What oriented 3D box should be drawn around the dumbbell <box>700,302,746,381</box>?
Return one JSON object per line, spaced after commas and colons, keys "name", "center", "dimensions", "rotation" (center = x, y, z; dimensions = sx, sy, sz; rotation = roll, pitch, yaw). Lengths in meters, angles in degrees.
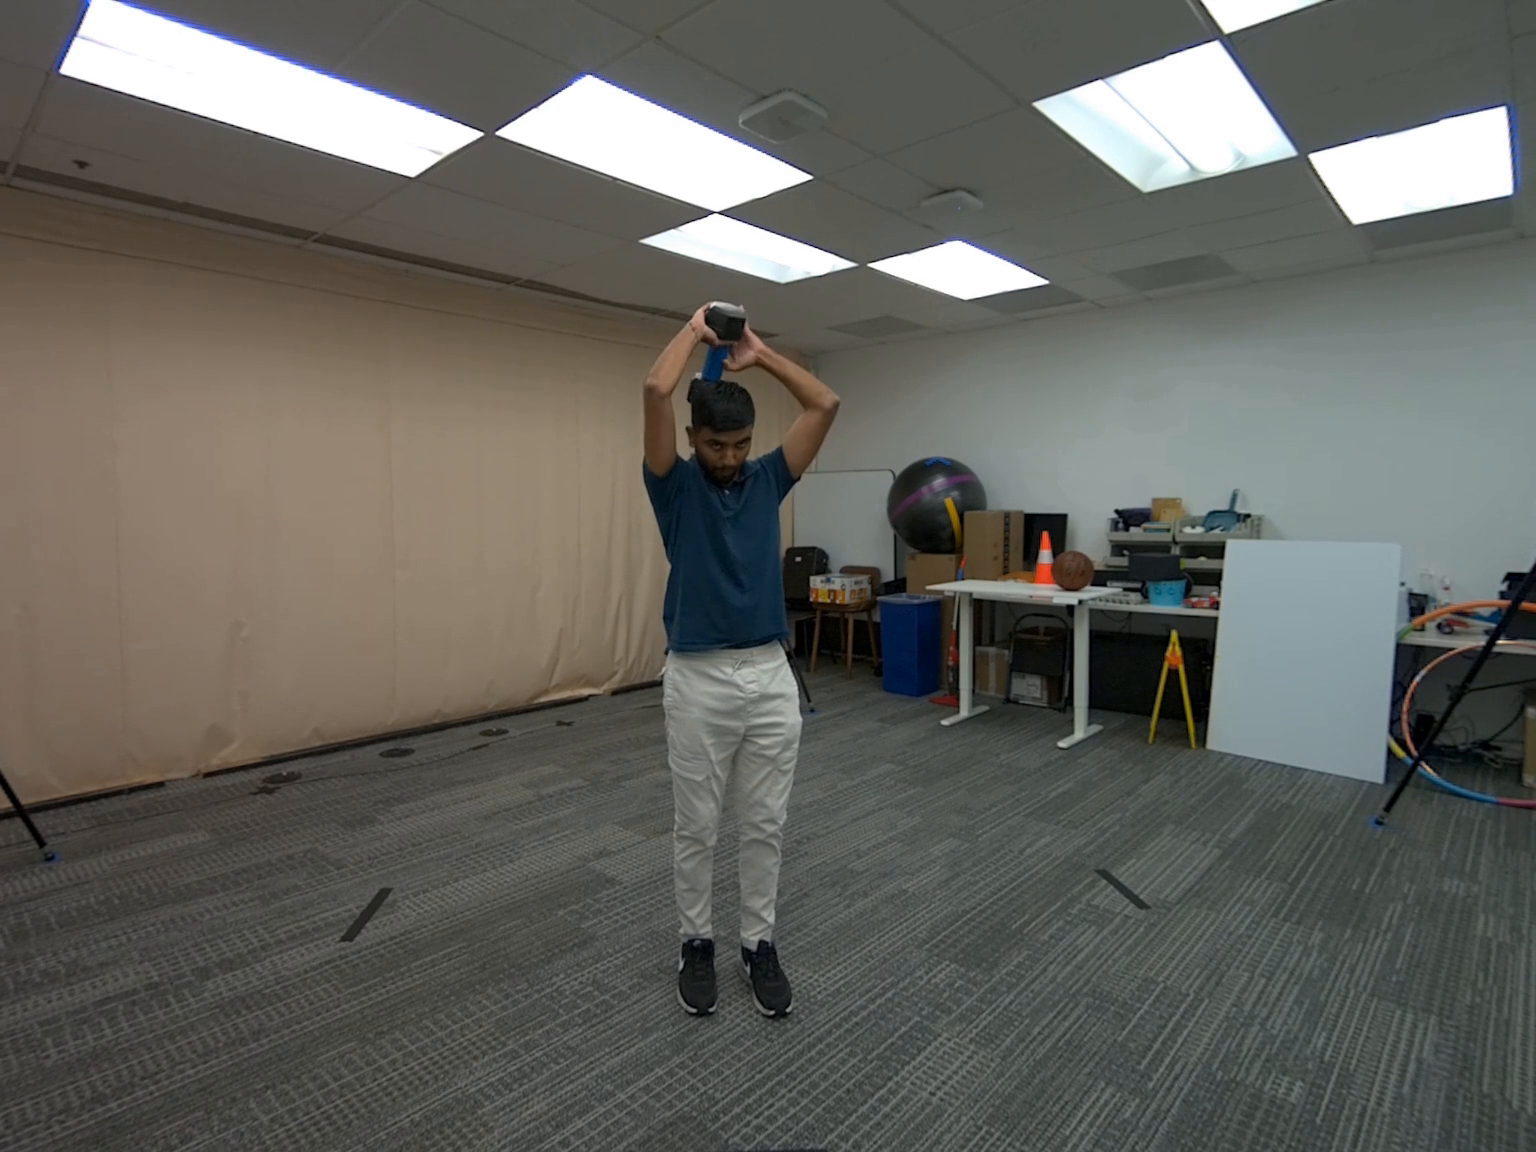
{"name": "dumbbell", "center": [-0.146, -0.623, 2.406], "dimensions": [0.108, 0.291, 0.125], "rotation": [11, 32, -9]}
